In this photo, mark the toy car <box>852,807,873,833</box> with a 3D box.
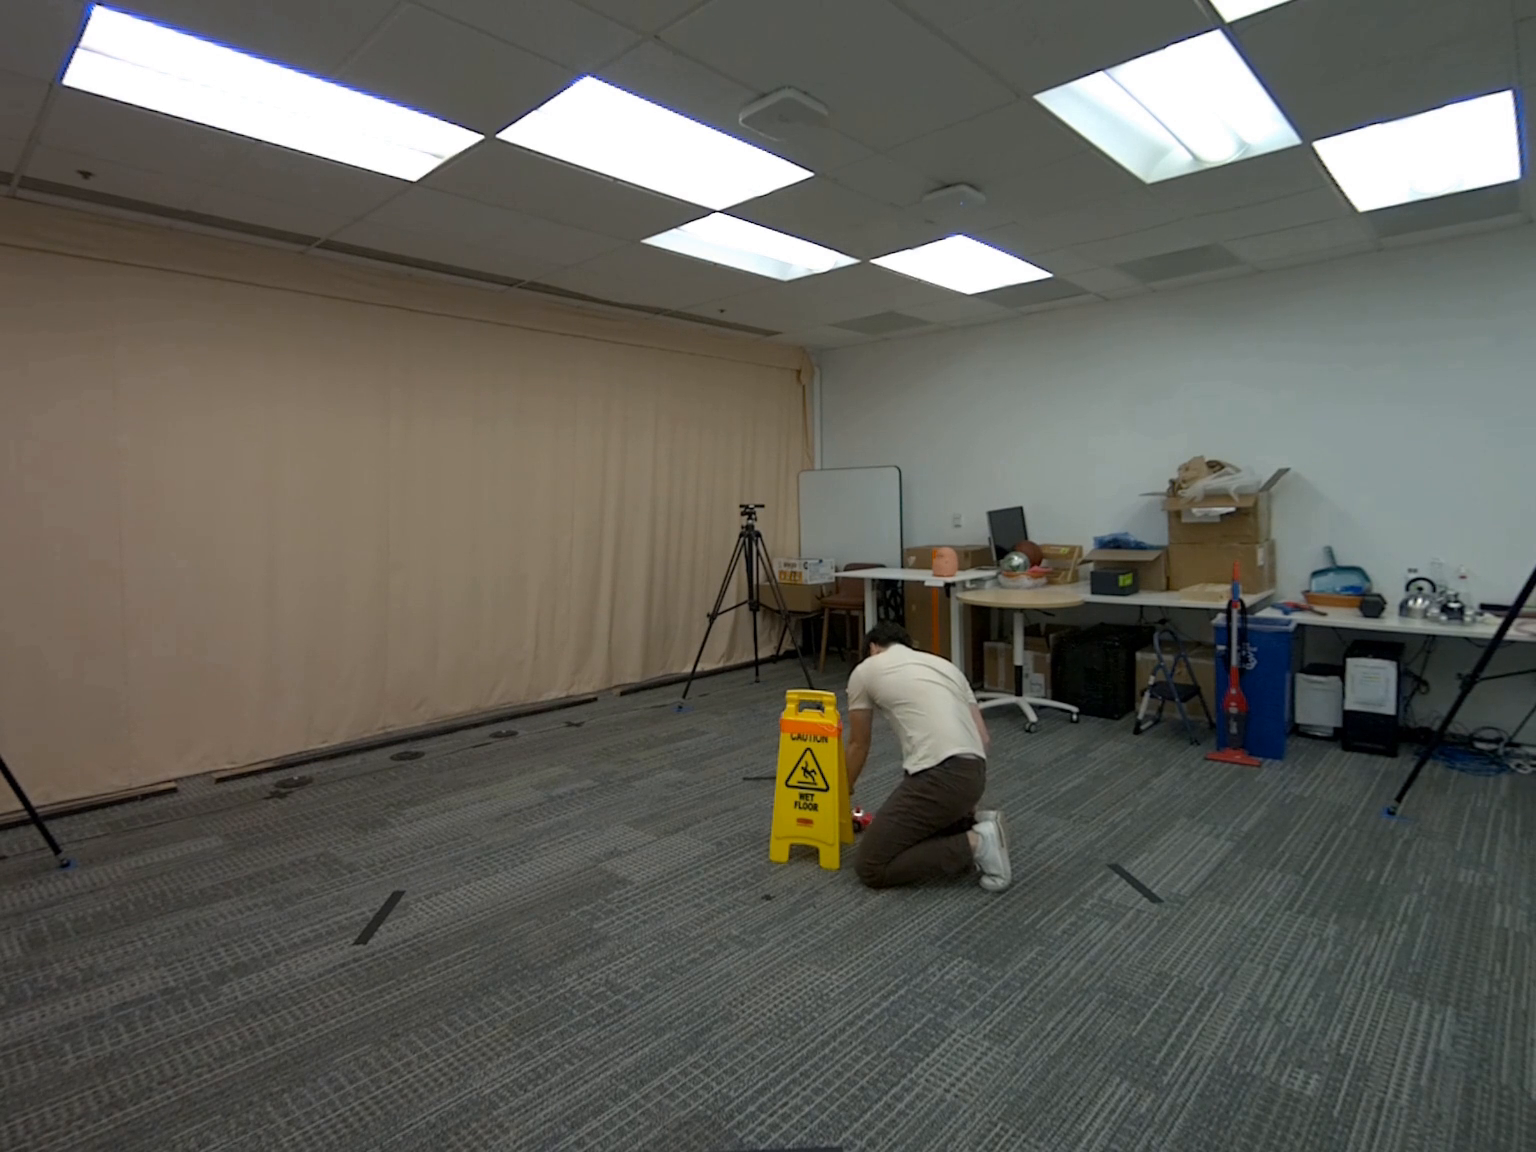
[{"bbox_3d":[0.332,1.034,3.614,0.257,0.083,0.129,-14,-1,11],"label":"toy car"}]
